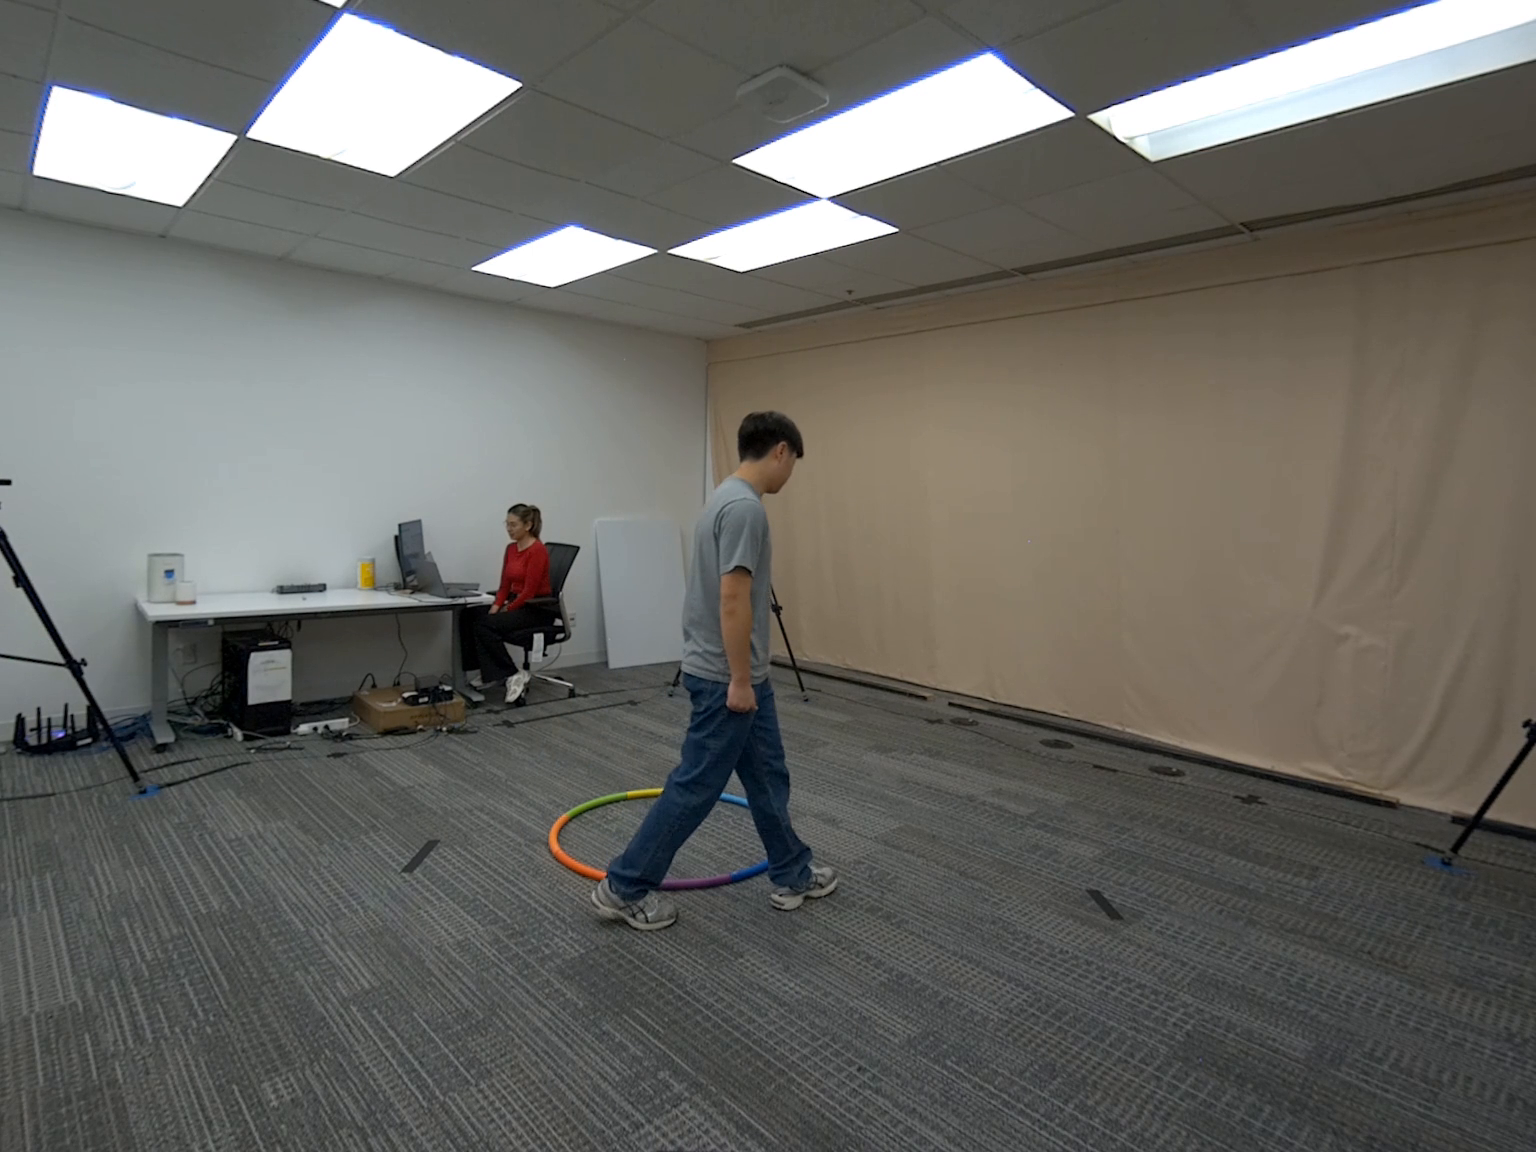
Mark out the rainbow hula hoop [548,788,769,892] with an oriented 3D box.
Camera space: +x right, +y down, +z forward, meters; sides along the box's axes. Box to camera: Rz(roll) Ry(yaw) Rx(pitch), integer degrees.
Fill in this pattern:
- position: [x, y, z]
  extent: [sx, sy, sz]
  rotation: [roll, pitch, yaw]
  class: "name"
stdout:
- position: [-0.408, 1.040, 3.463]
  extent: [0.978, 0.035, 0.982]
  rotation: [1, 5, -1]
  class: "rainbow hula hoop"
